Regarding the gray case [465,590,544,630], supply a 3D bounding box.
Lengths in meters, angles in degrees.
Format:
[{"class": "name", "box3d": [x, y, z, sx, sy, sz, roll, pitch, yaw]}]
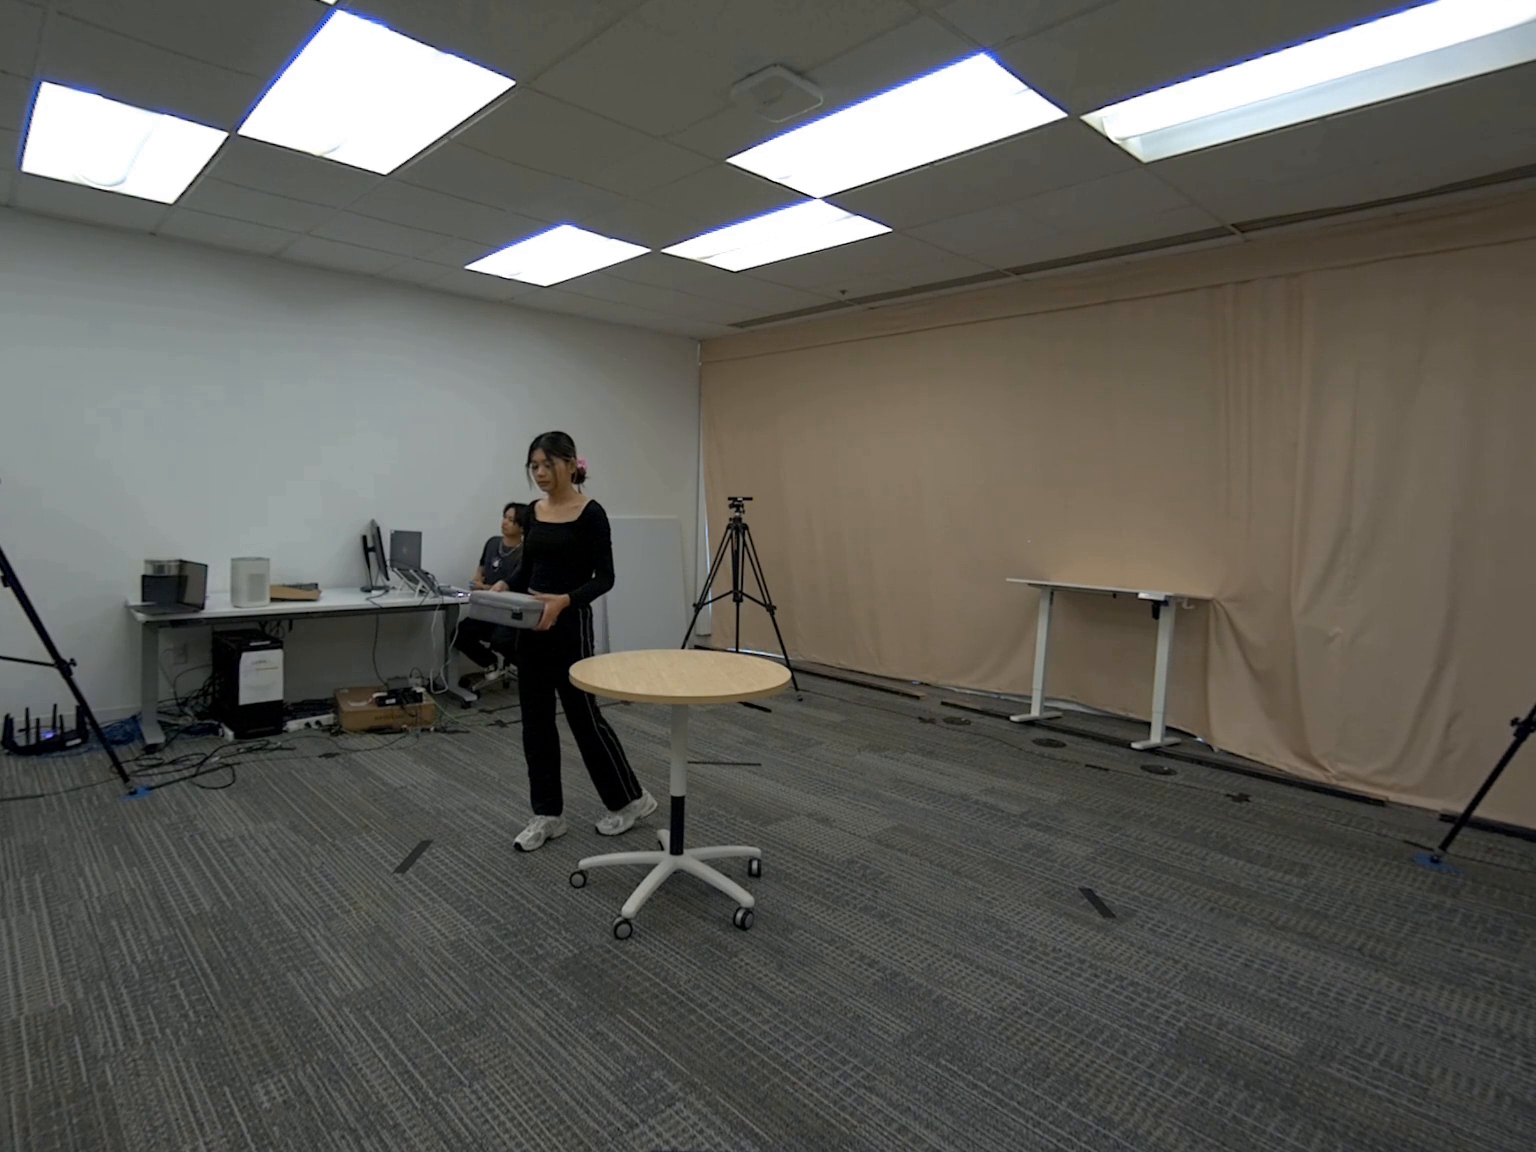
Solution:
[{"class": "gray case", "box3d": [-0.953, 0.120, 3.115, 0.260, 0.104, 0.257, 7, 0, 13]}]
